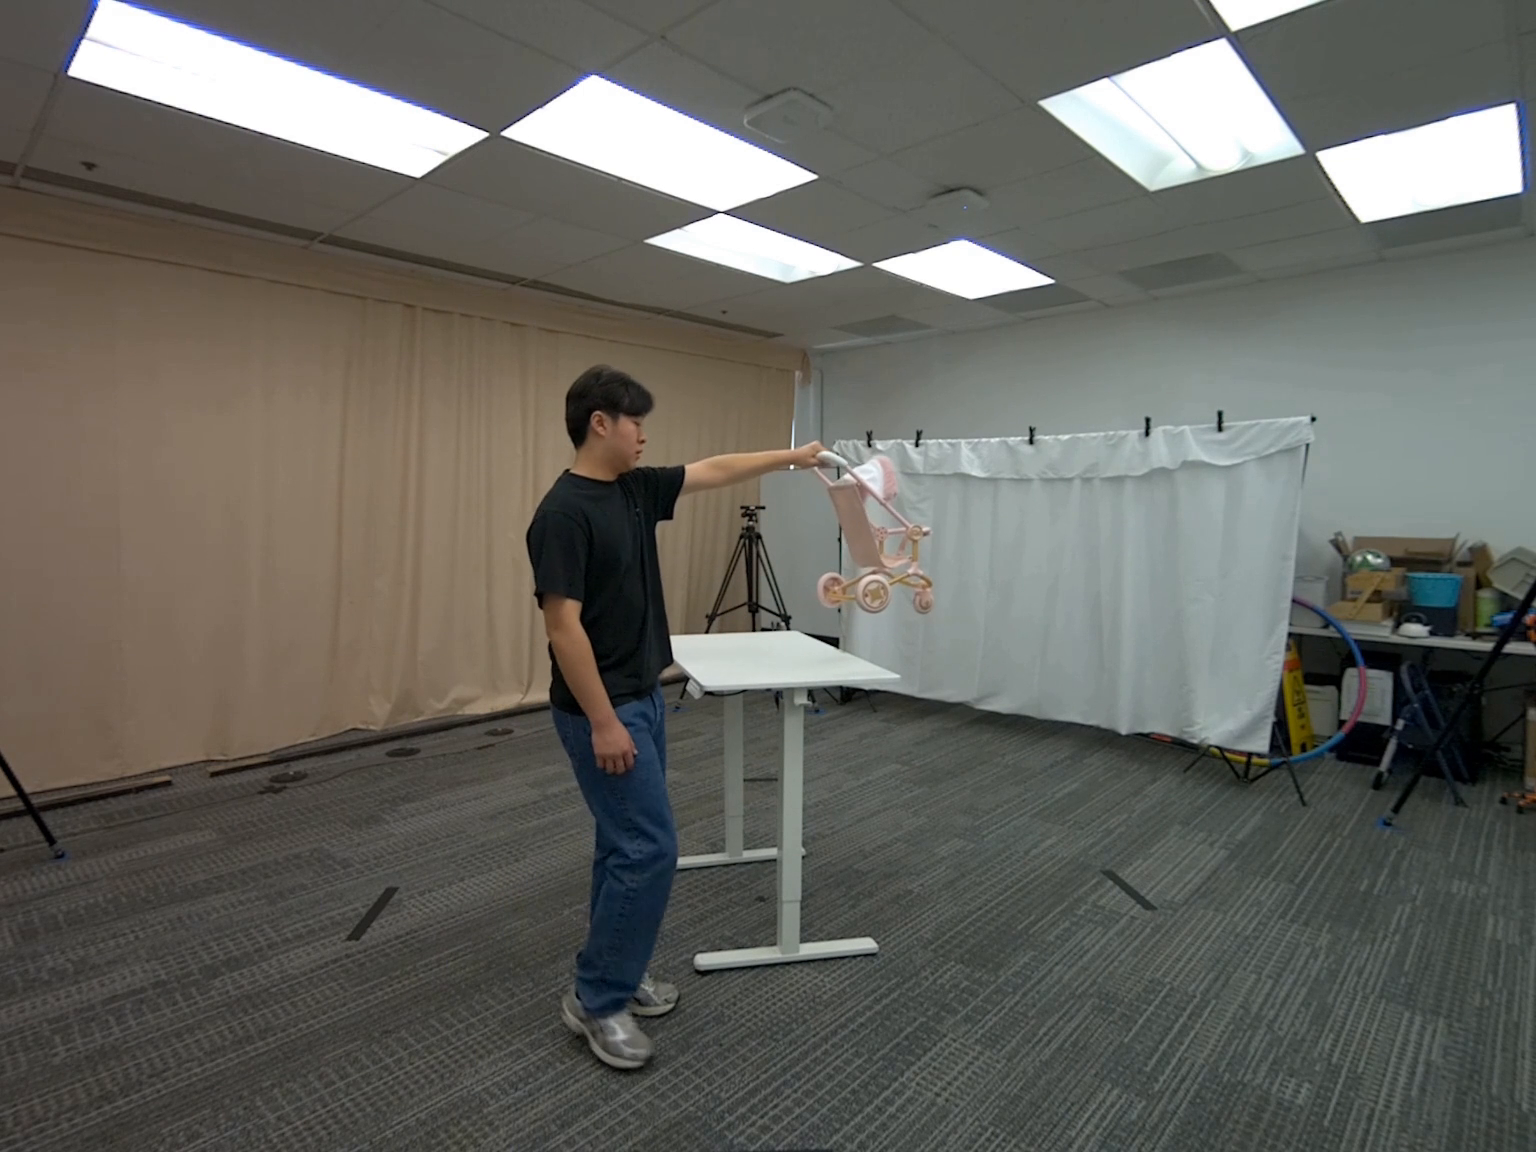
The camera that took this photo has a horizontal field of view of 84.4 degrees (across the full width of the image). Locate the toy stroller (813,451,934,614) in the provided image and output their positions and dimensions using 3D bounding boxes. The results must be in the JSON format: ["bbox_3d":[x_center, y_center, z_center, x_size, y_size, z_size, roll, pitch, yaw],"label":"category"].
[{"bbox_3d":[0.337,-0.120,2.537,0.336,0.534,0.286,-9,3,-16],"label":"toy stroller"}]
